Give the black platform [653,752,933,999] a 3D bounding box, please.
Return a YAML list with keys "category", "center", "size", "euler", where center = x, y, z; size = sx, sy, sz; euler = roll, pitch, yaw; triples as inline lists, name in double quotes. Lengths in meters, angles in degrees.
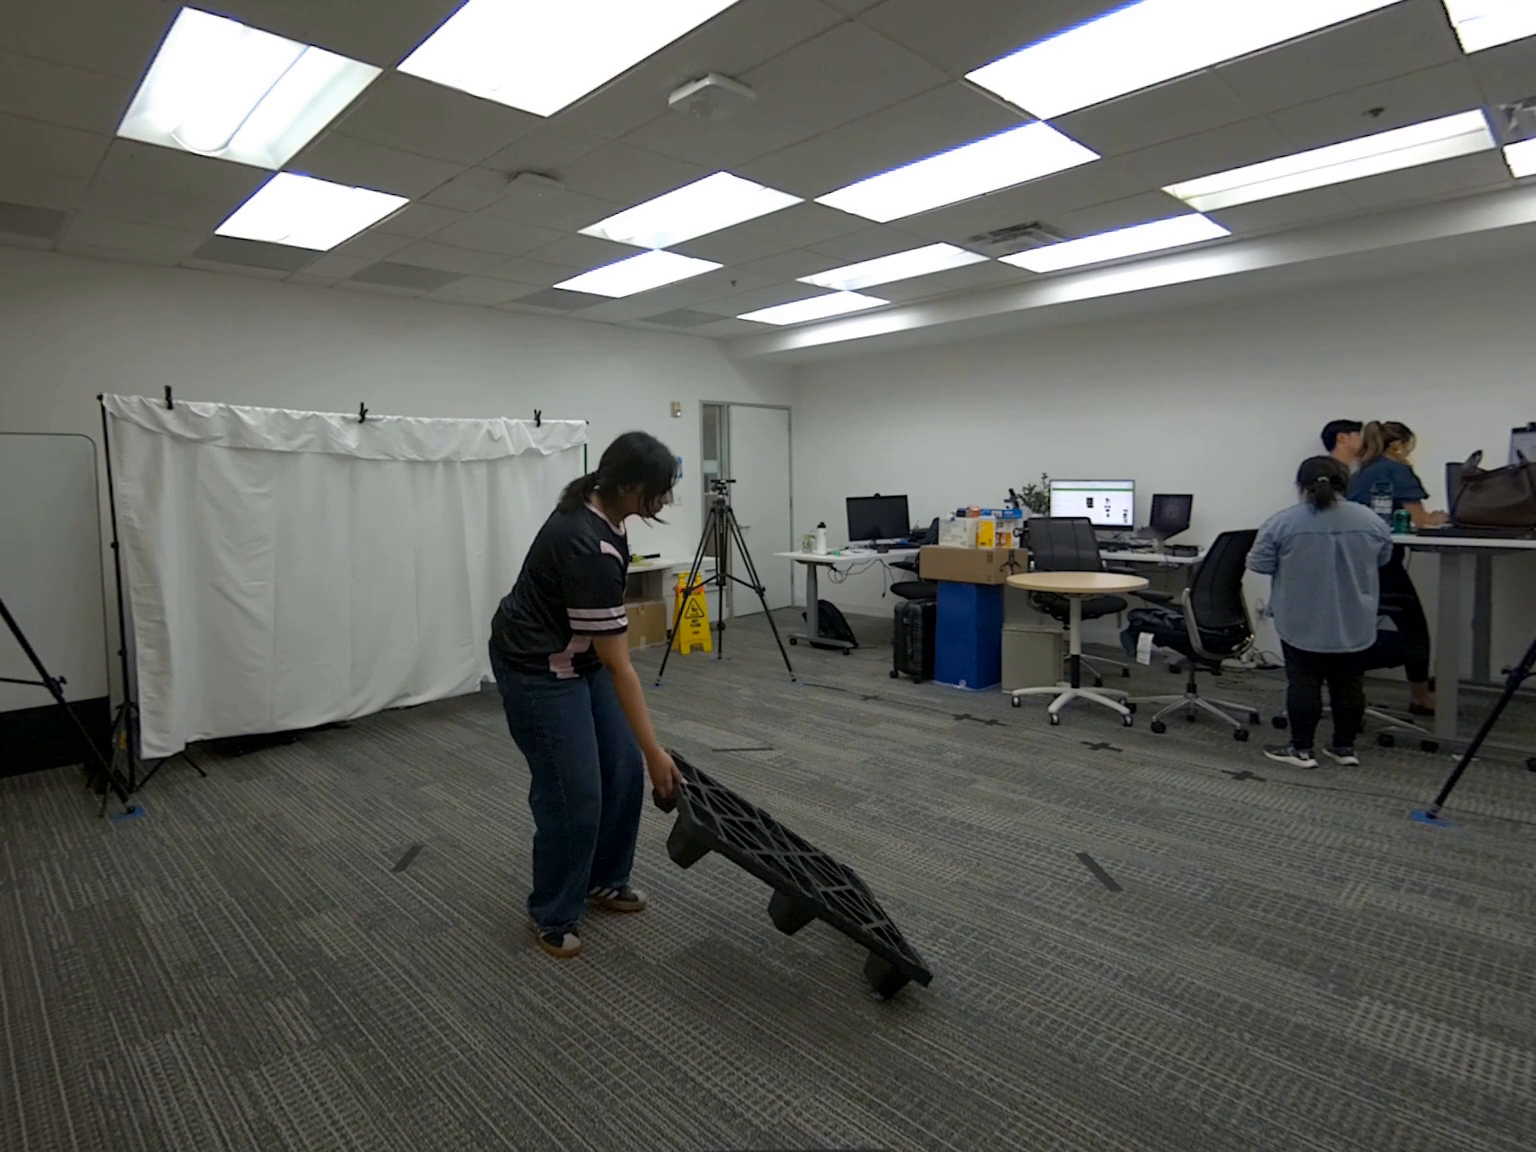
- category: "black platform"
  center: [0.016, 0.840, 2.455]
  size: [0.794, 0.143, 0.614]
  euler: [37, -4, -12]
